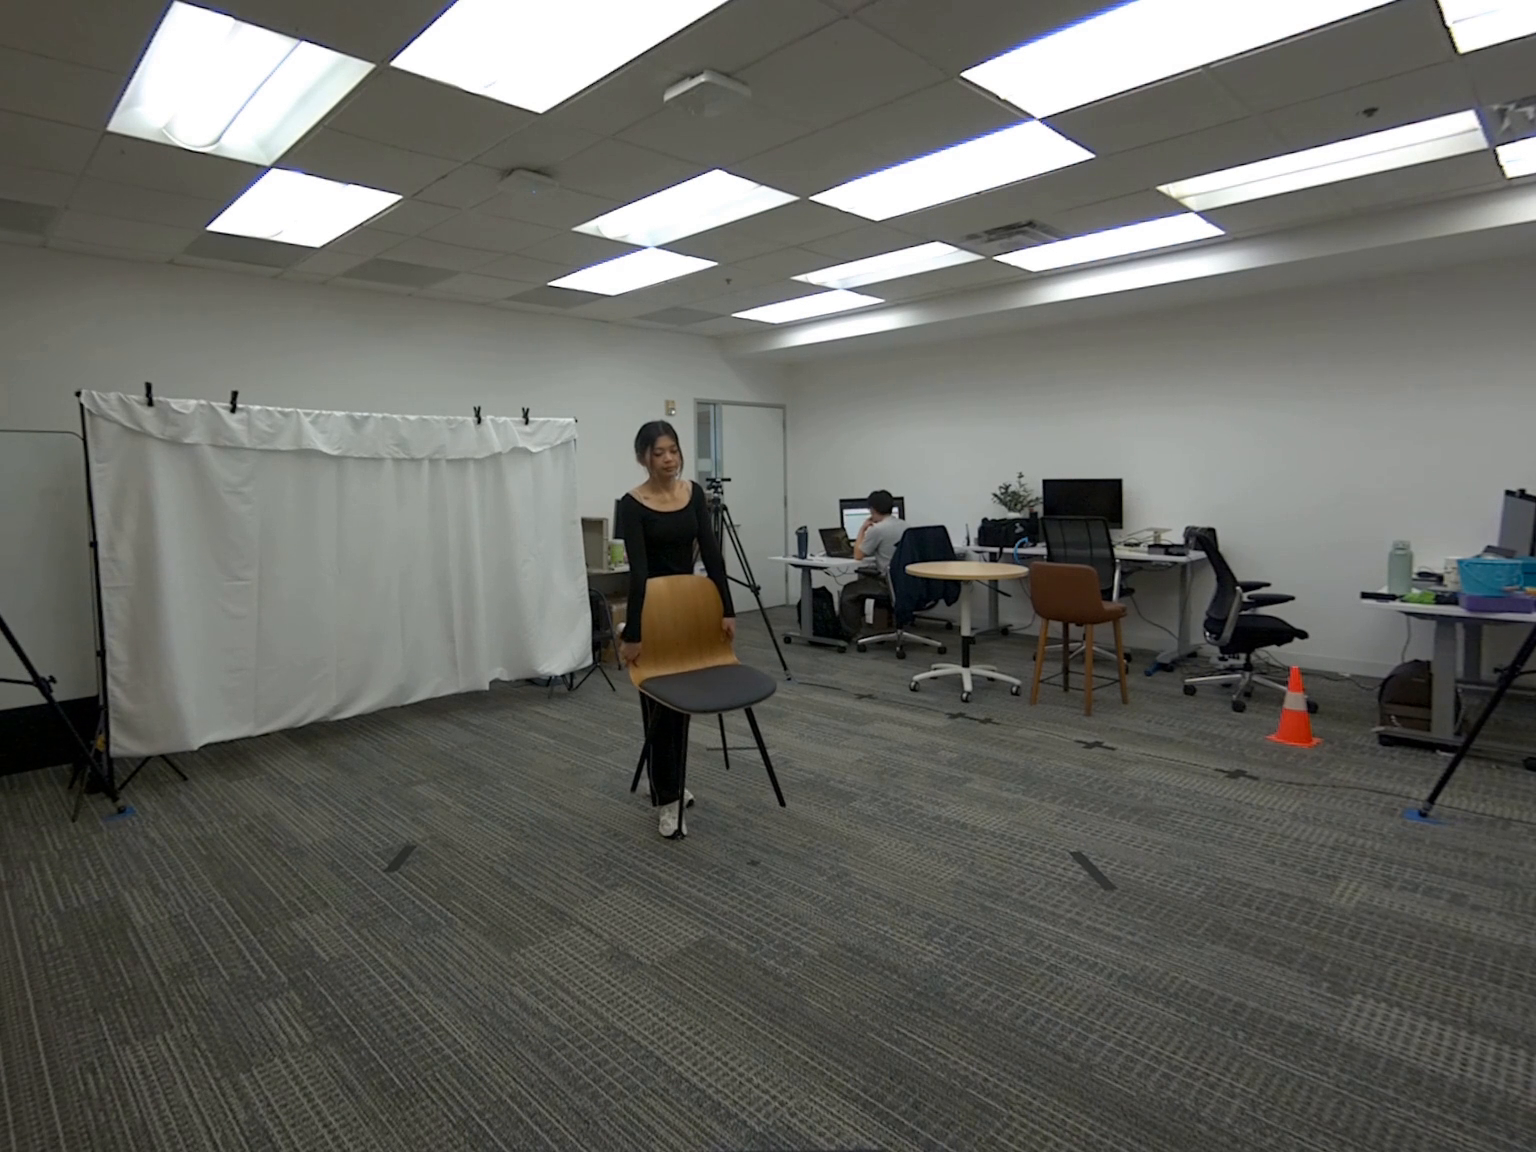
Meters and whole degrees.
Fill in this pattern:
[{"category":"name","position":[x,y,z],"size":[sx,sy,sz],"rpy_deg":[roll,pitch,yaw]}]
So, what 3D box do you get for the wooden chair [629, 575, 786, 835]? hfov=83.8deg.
[{"category":"wooden chair","position":[-0.249,0.454,3.265],"size":[0.467,0.875,0.536],"rpy_deg":[-5,3,-29]}]
